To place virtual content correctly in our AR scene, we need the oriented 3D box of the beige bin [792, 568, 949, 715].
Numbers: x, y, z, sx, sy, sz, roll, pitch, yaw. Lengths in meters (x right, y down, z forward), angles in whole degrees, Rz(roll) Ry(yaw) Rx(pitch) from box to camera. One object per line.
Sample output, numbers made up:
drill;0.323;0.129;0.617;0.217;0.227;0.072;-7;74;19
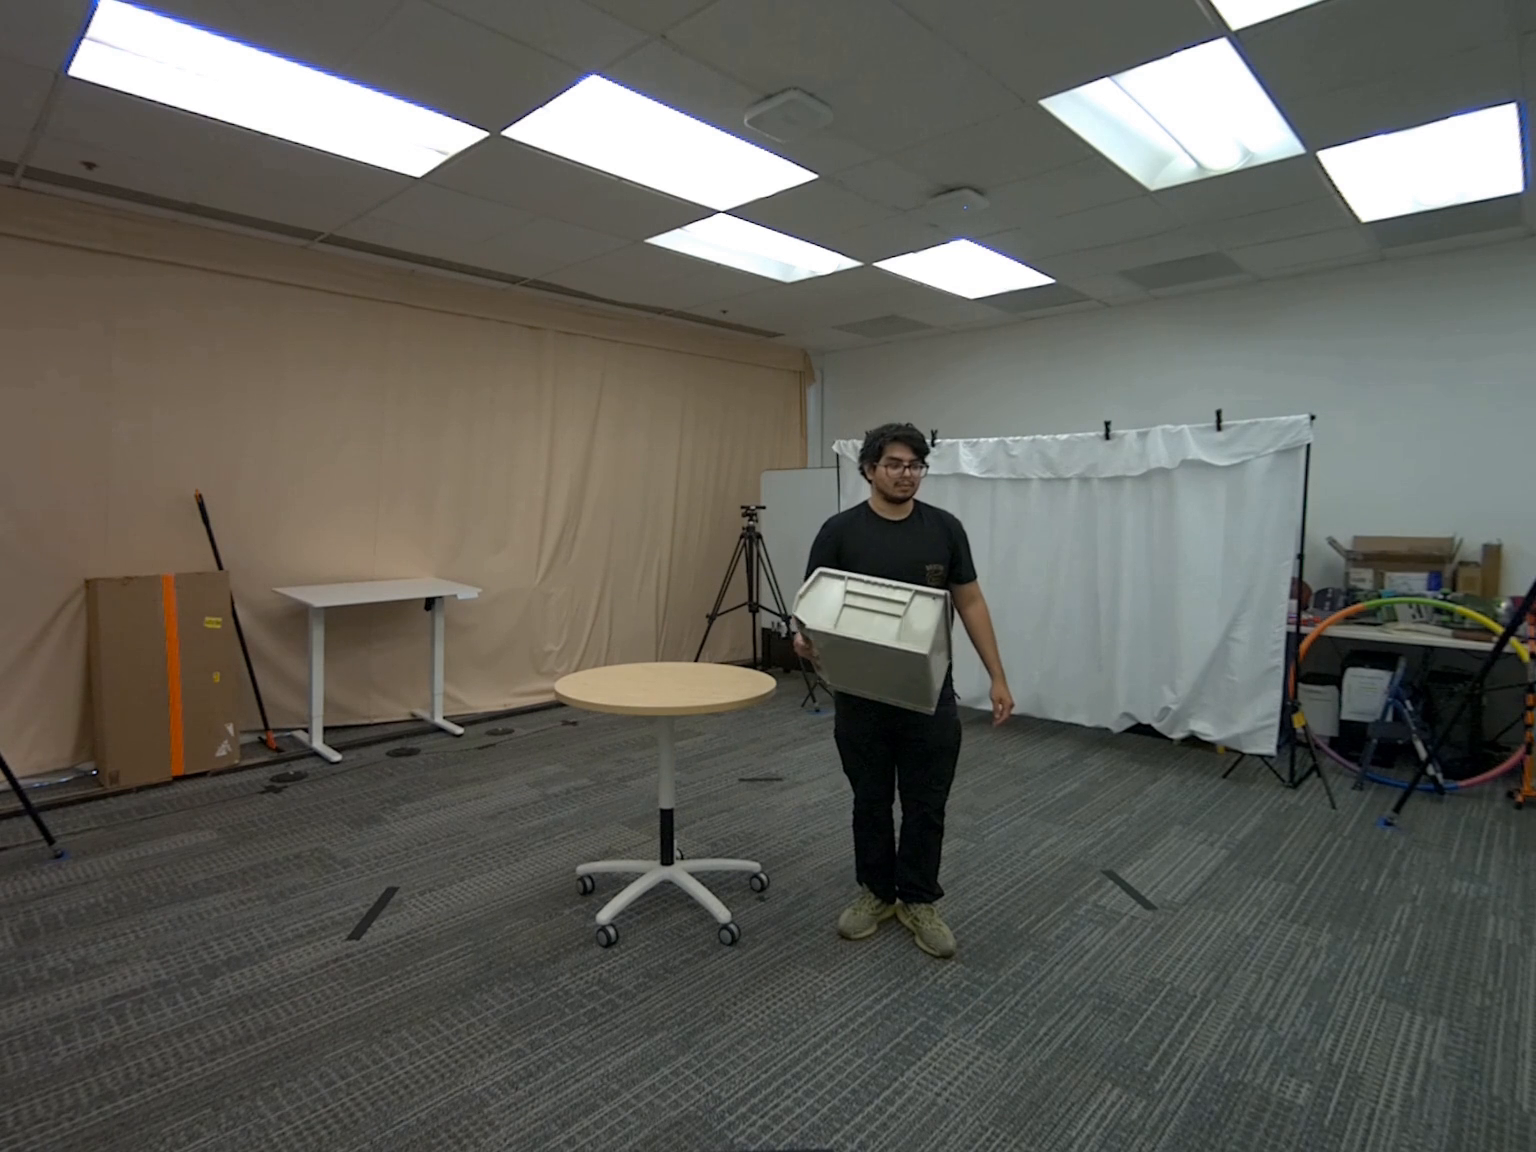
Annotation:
beige bin;0.289;0.181;2.317;0.387;0.189;0.410;13;-27;22
